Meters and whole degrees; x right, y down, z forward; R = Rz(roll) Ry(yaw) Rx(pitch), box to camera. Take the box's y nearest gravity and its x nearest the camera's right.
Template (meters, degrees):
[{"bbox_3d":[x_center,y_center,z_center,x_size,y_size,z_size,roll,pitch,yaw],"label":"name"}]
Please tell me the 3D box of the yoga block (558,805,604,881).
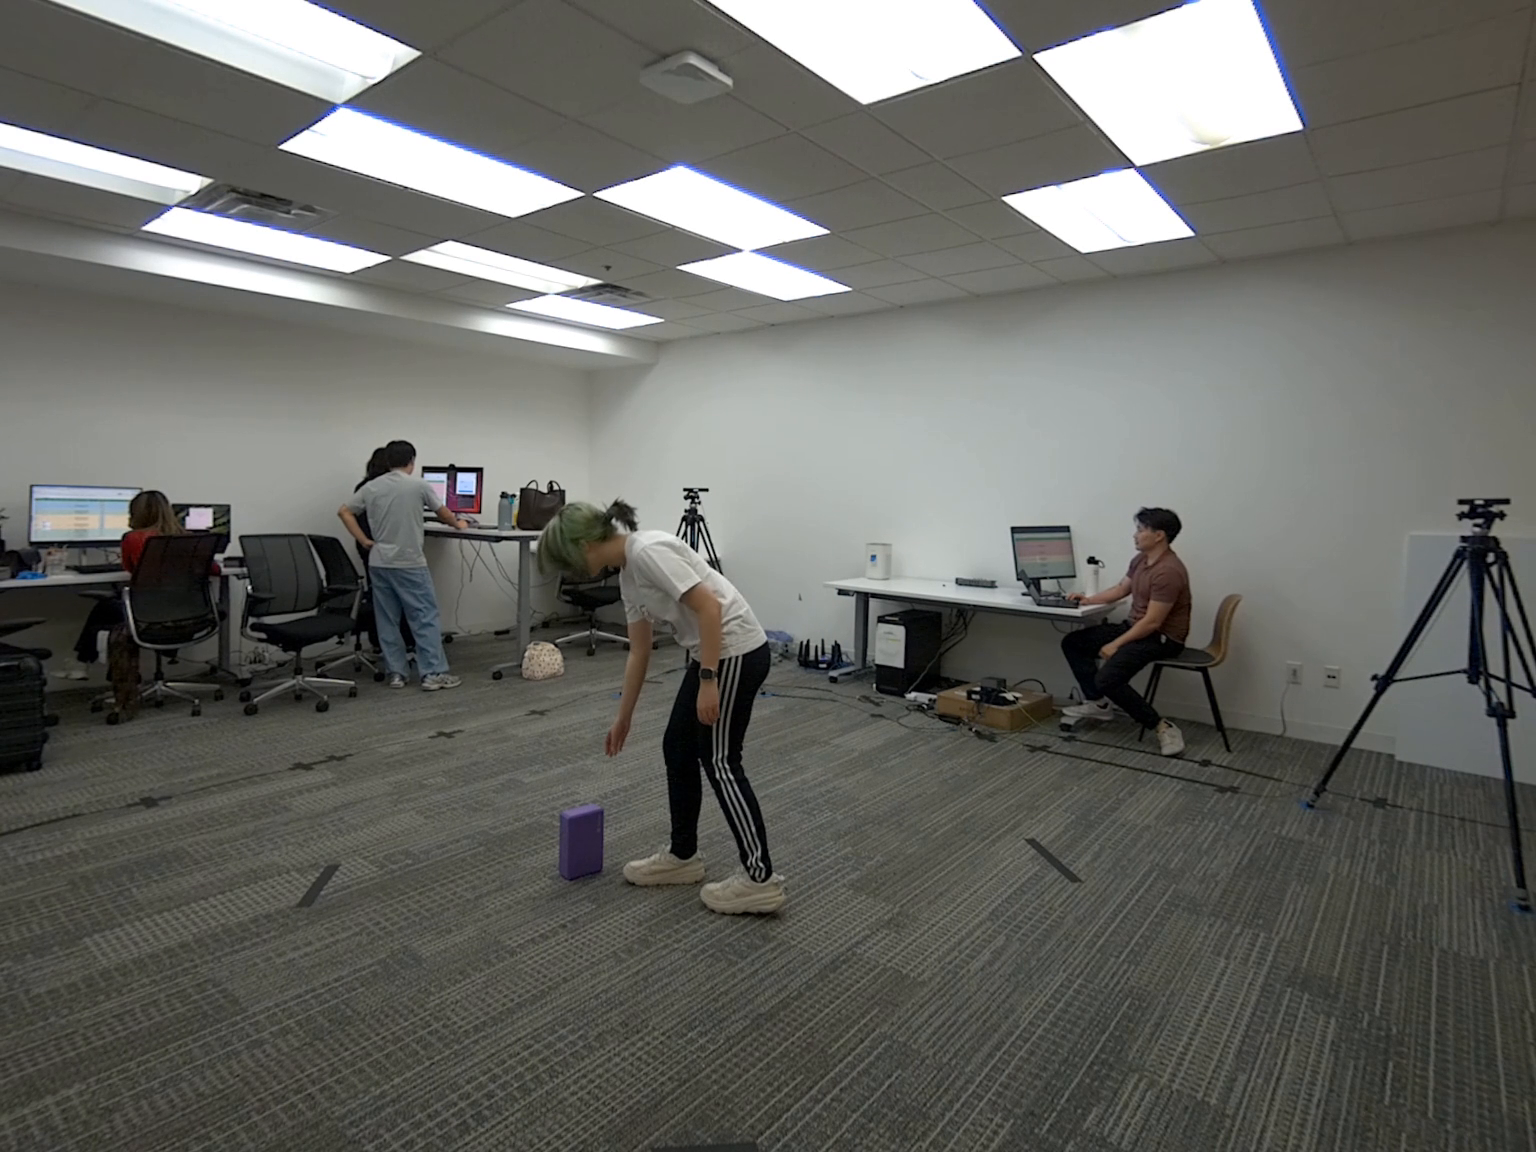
[{"bbox_3d":[-0.681,0.950,3.056,0.144,0.229,0.079,-2,4,-42],"label":"yoga block"}]
